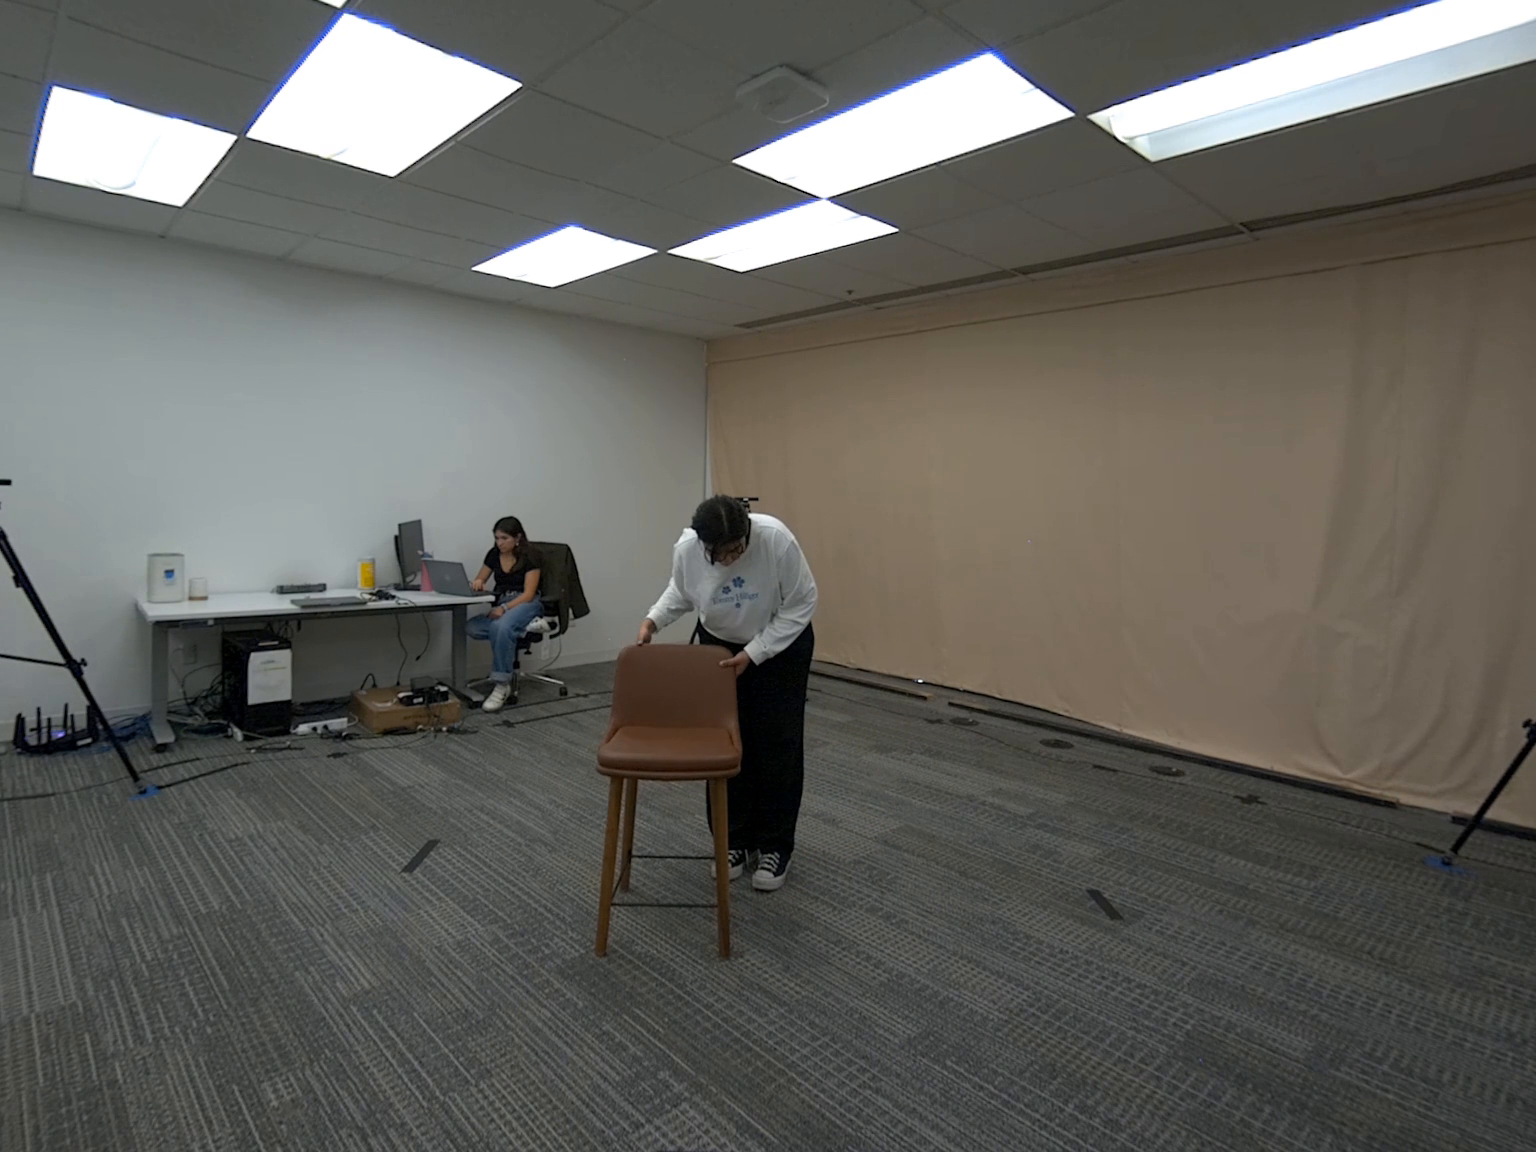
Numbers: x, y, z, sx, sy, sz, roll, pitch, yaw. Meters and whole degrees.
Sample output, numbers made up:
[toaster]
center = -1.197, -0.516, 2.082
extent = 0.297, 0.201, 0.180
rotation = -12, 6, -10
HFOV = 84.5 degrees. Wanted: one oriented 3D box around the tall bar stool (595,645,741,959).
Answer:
[tall bar stool]
center = -0.328, 0.704, 2.744
extent = 0.456, 0.888, 0.469
rotation = 1, 2, -2
